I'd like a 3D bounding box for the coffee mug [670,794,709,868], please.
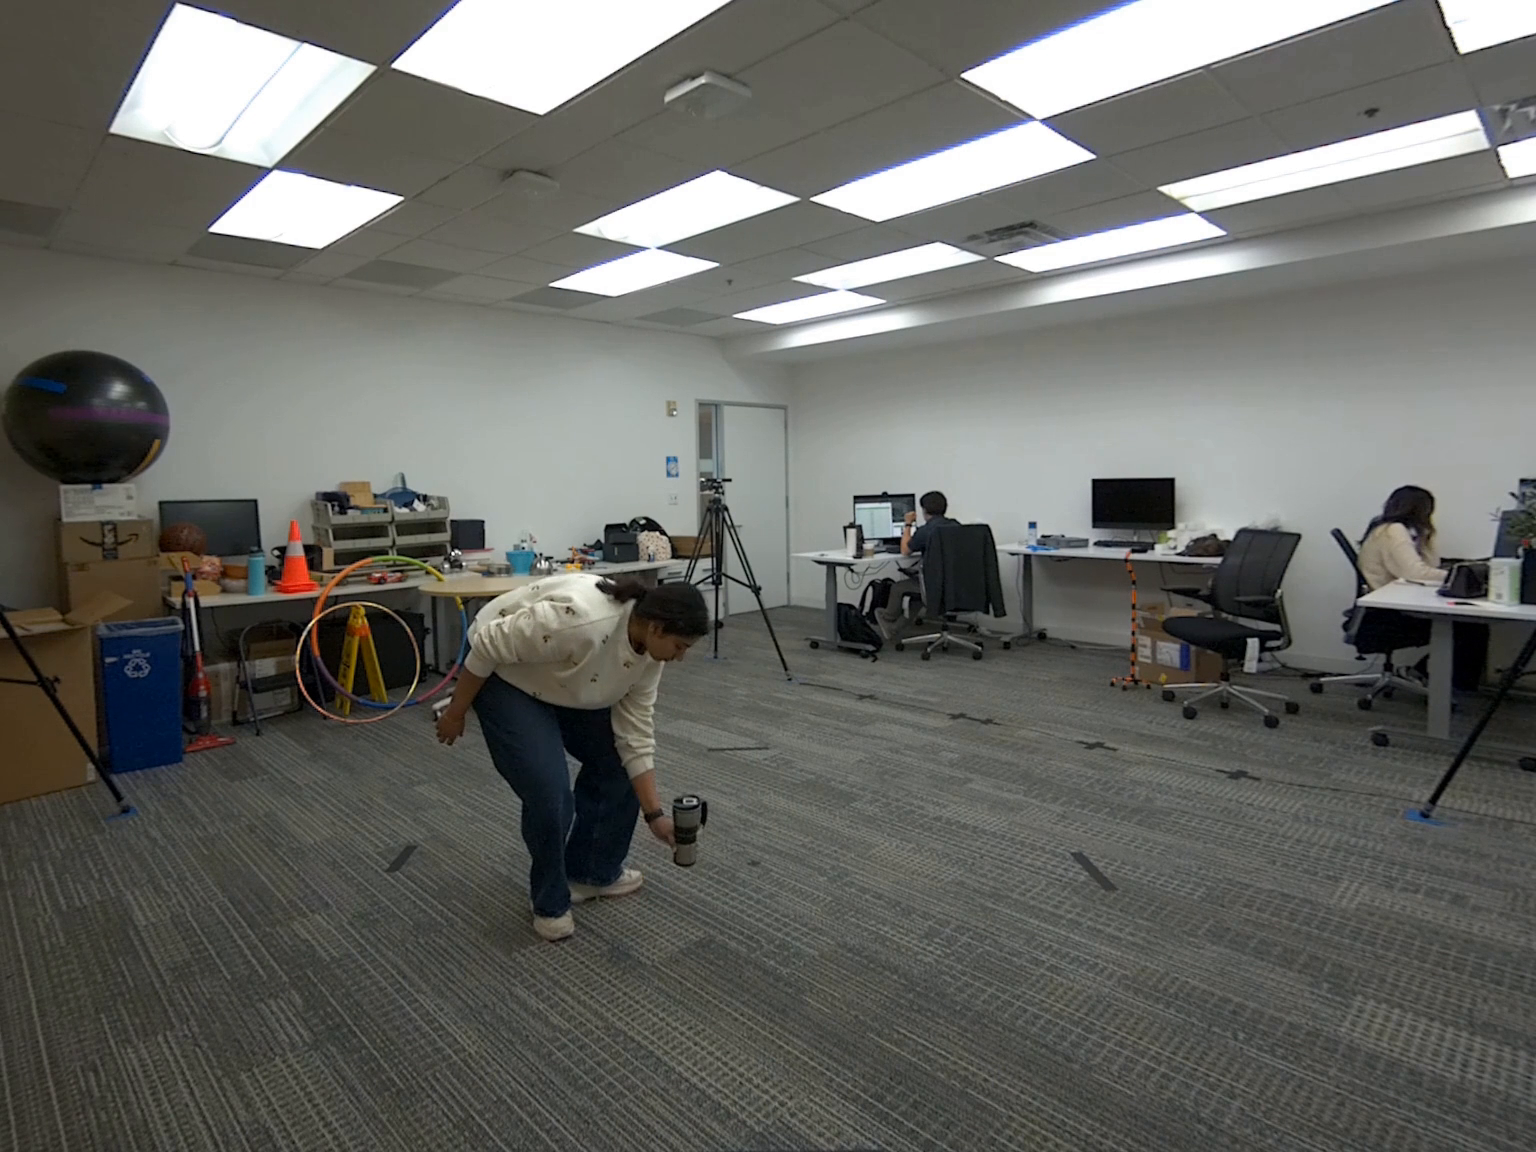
[{"bbox_3d":[-0.236,0.780,2.638,0.120,0.201,0.090,-8,8,-24],"label":"coffee mug"}]
